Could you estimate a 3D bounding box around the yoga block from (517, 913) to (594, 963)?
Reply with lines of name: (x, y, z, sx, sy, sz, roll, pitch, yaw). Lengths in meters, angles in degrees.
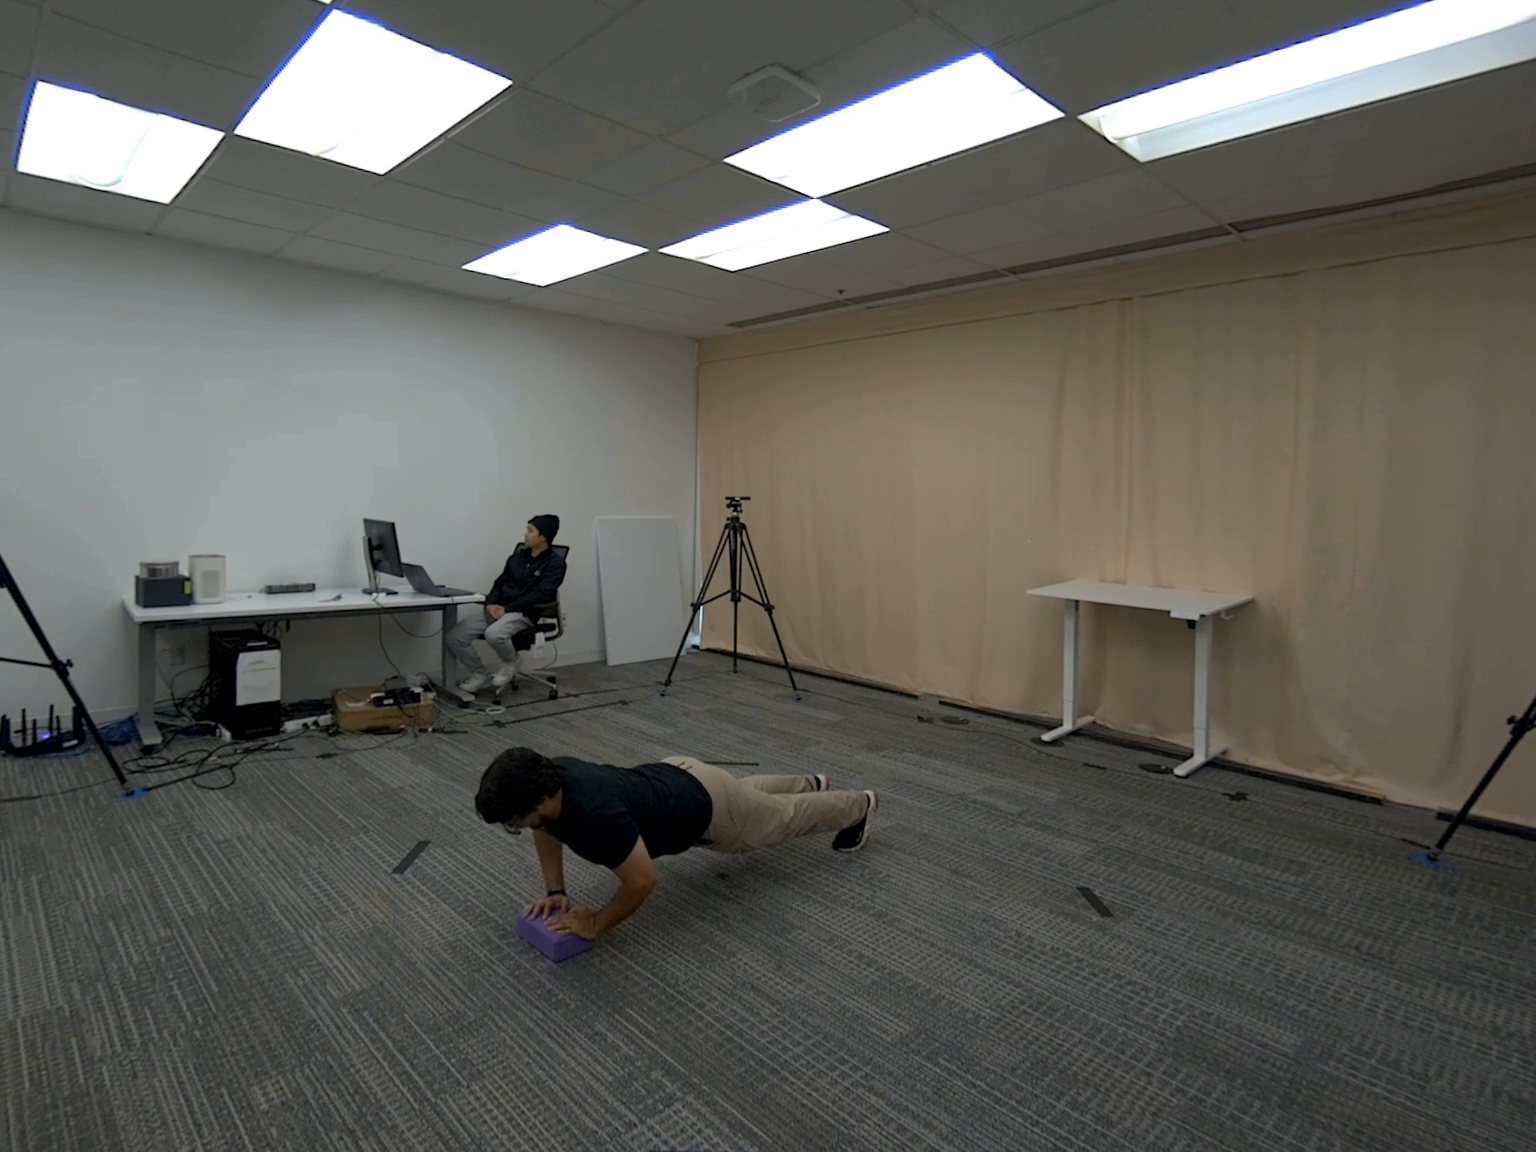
yoga block: (-0.672, 1.105, 2.618, 0.235, 0.076, 0.145, 6, 6, 43)
